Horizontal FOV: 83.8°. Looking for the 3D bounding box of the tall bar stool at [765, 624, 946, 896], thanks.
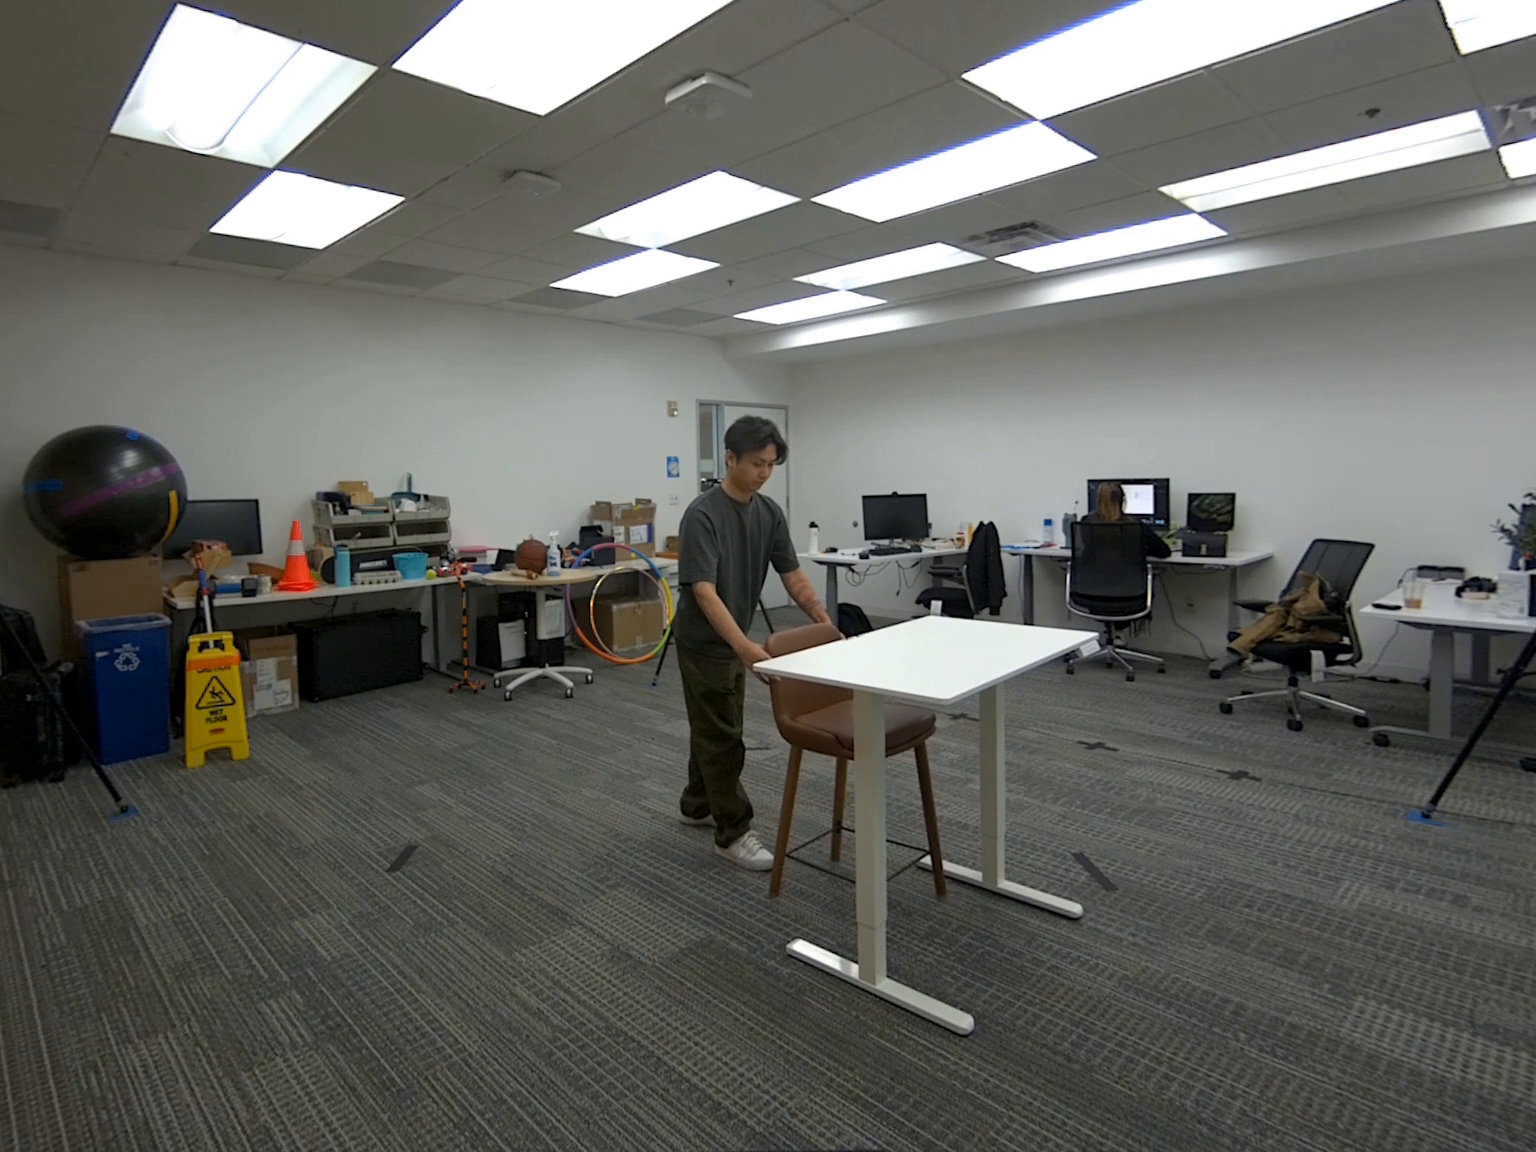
[{"bbox_3d":[0.279,0.627,2.838,0.481,0.889,0.444,-2,2,43],"label":"tall bar stool"}]
